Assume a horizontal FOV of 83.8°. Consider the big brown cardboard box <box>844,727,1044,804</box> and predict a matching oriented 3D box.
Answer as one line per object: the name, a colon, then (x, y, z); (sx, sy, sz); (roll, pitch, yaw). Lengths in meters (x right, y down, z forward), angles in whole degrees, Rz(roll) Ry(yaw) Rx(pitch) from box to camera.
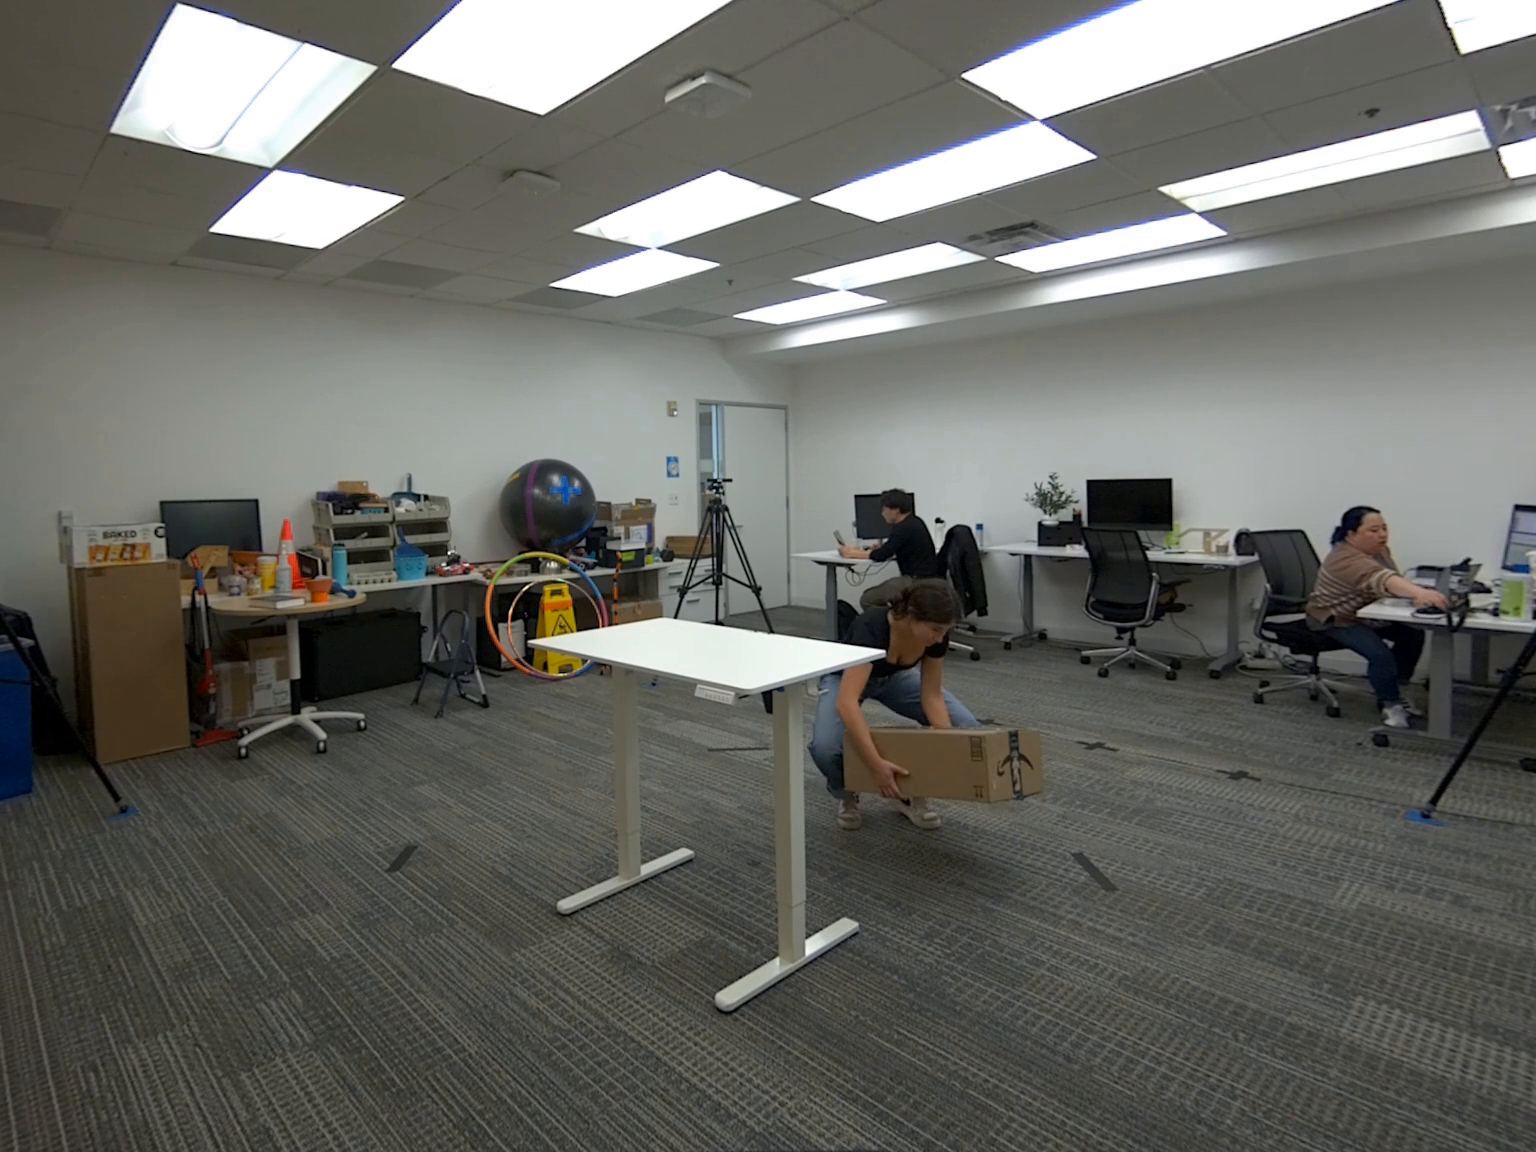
big brown cardboard box: (0.624, 0.663, 3.062); (0.603, 0.235, 0.404); (-7, -9, 42)
